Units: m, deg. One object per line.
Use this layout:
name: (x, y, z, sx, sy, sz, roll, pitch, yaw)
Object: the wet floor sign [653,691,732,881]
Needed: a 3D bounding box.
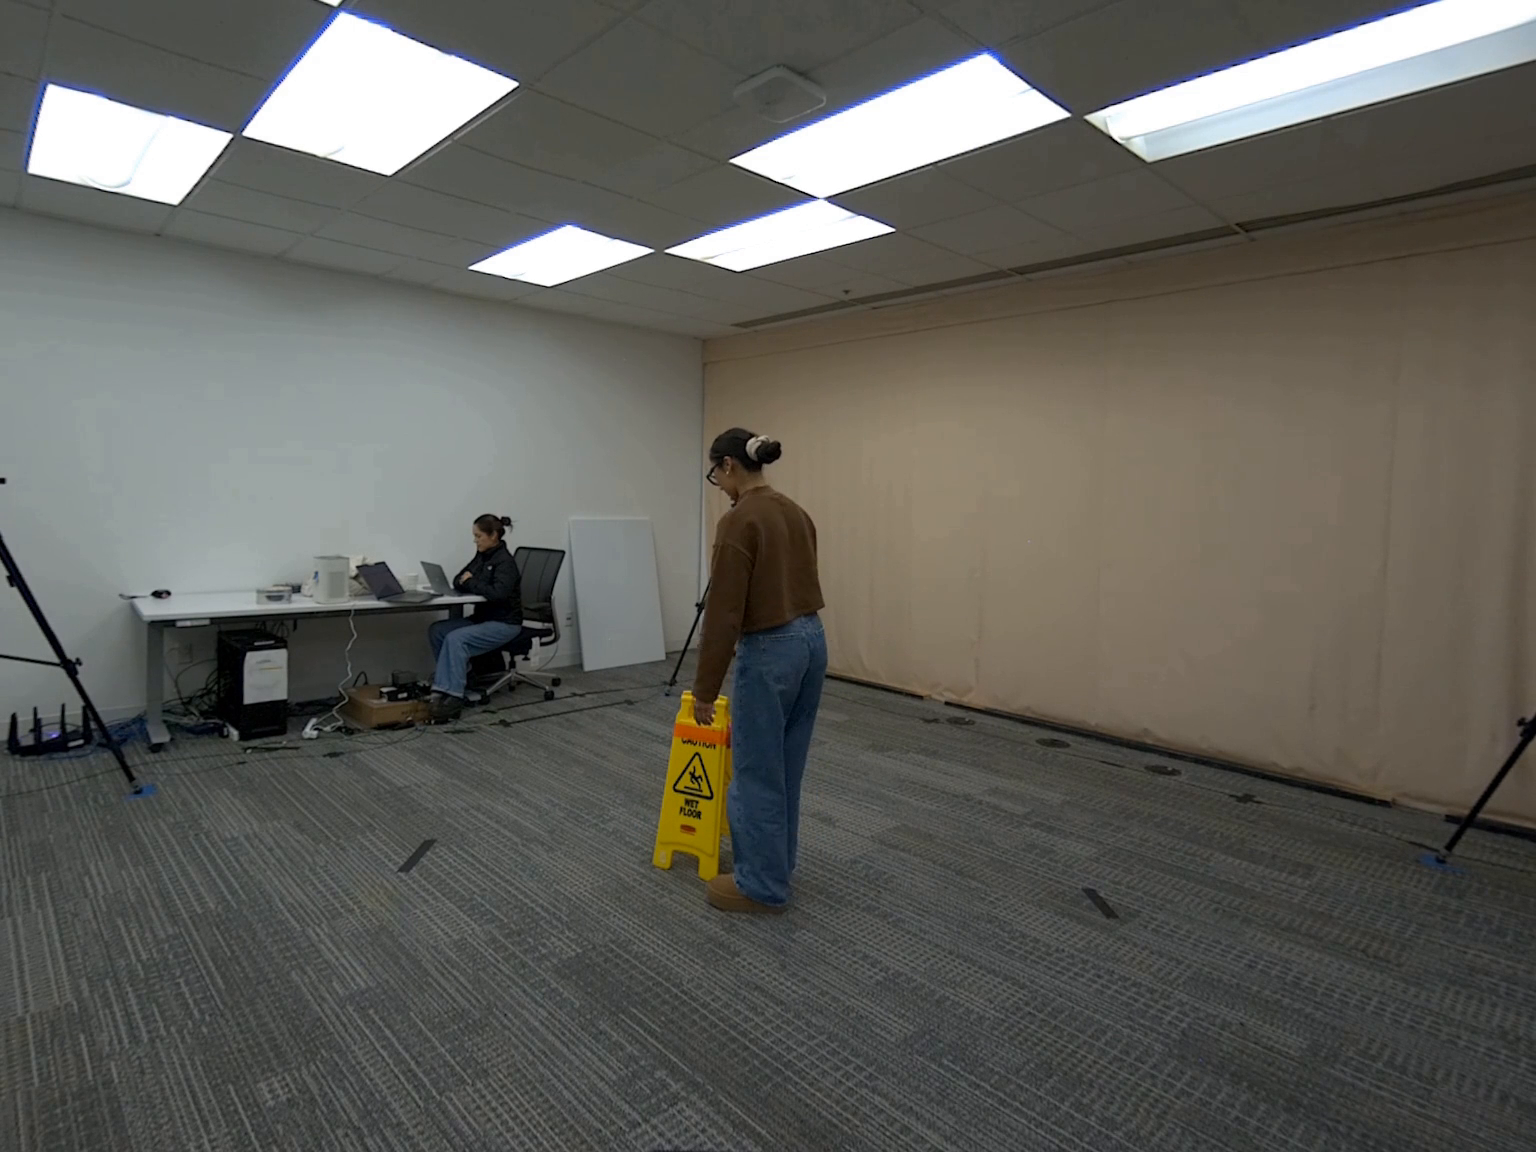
wet floor sign: (-0.251, 0.769, 3.214, 0.288, 0.644, 0.284, 4, 4, 26)
